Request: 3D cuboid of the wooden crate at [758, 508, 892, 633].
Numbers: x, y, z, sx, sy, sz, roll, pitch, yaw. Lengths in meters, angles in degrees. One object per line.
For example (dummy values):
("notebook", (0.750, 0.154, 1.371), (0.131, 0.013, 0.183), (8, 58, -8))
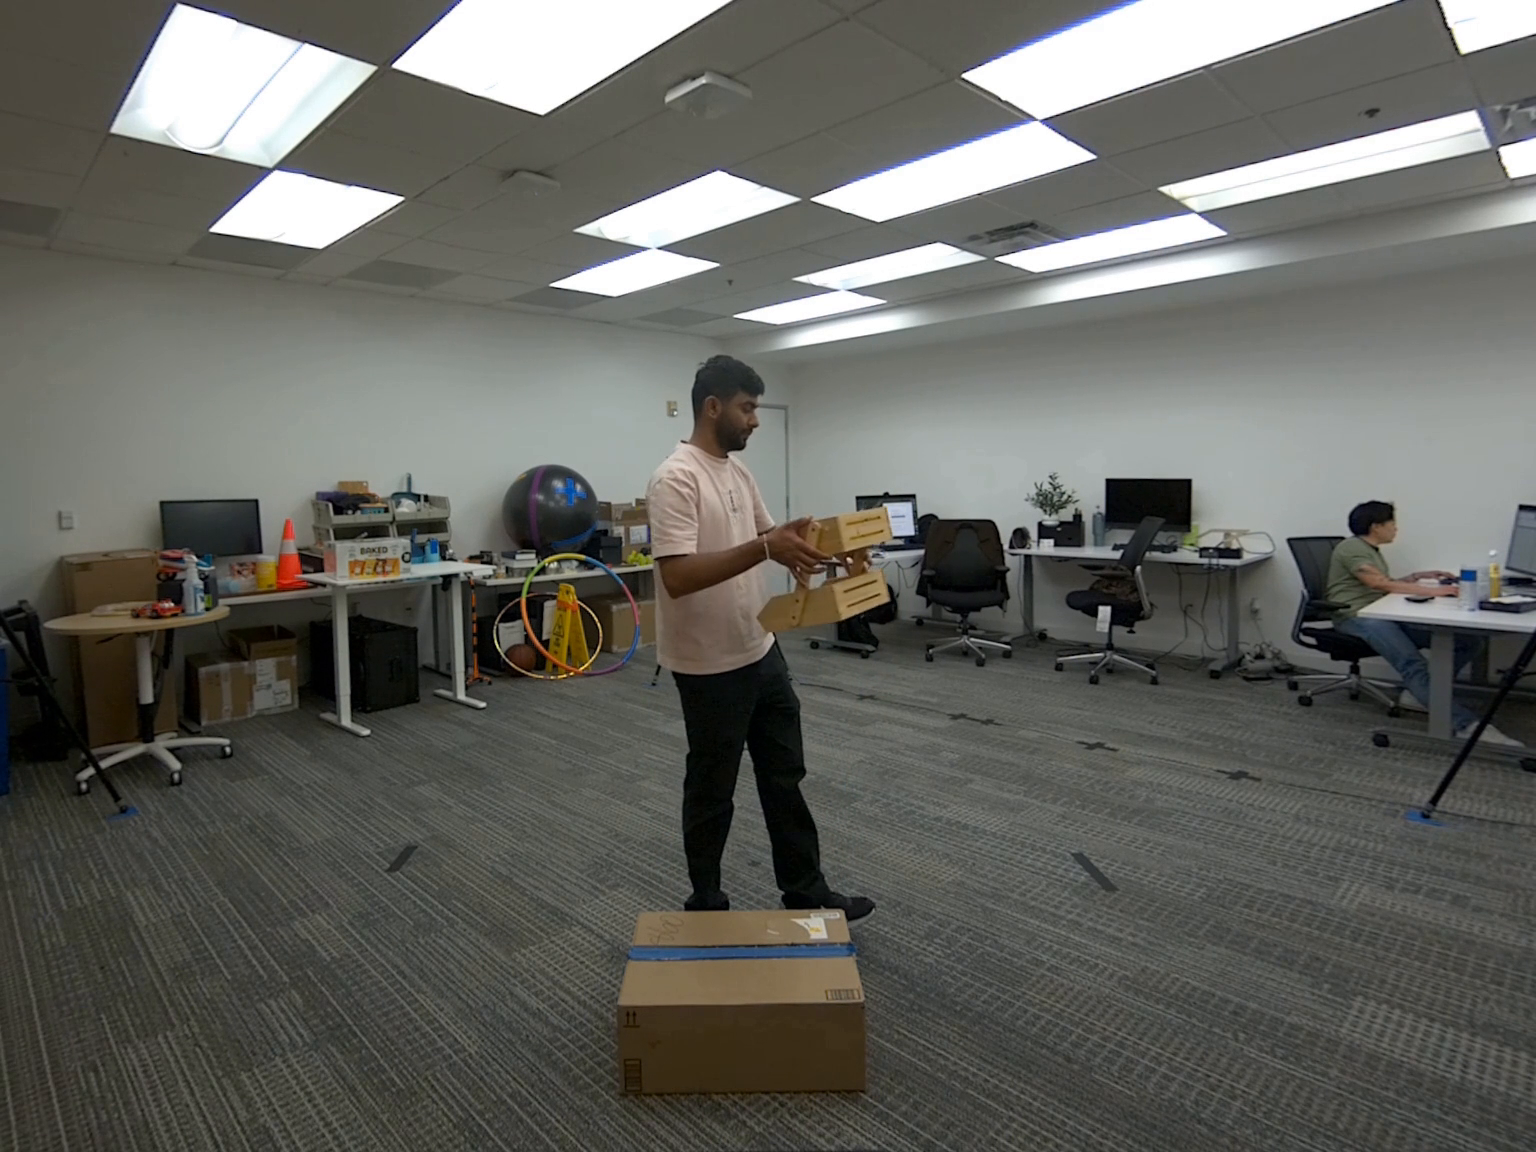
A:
("wooden crate", (0.149, -0.024, 2.322), (0.308, 0.274, 0.317), (-12, 0, 34))
